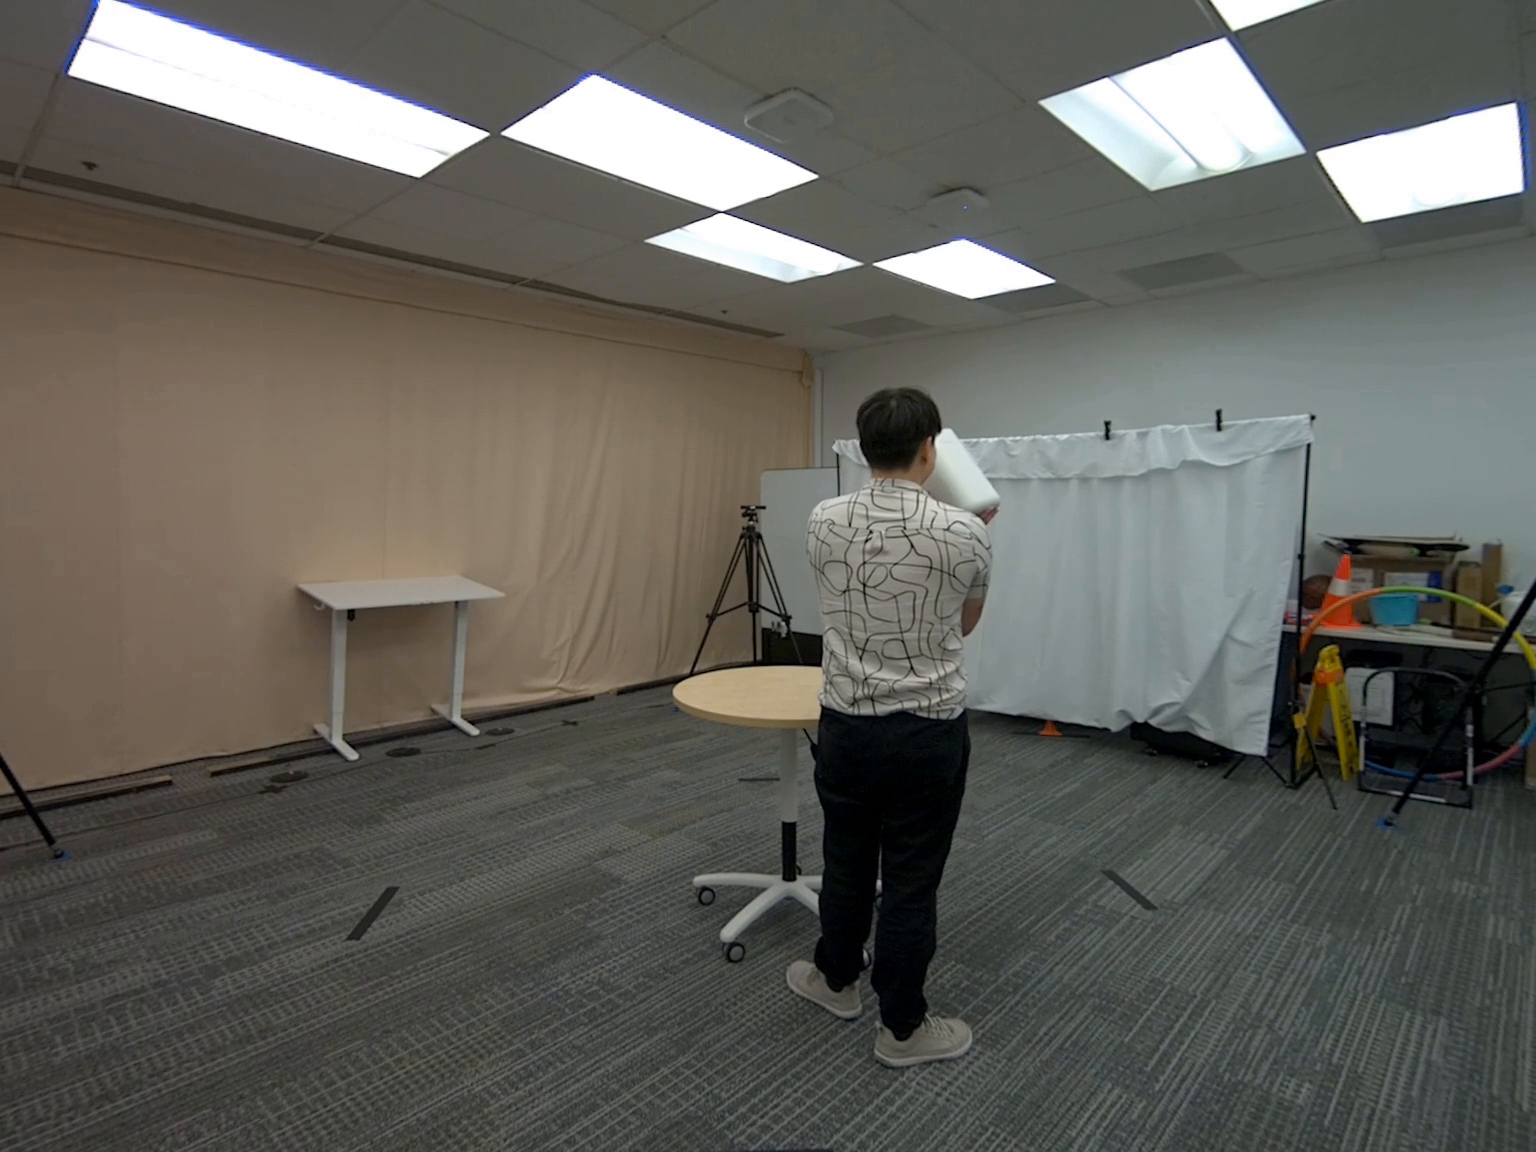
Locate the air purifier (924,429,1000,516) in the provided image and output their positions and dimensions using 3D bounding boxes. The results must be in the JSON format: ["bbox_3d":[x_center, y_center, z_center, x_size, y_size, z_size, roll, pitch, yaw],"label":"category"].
[{"bbox_3d":[0.508,-0.259,2.360,0.166,0.270,0.173,-14,-24,-41],"label":"air purifier"}]
